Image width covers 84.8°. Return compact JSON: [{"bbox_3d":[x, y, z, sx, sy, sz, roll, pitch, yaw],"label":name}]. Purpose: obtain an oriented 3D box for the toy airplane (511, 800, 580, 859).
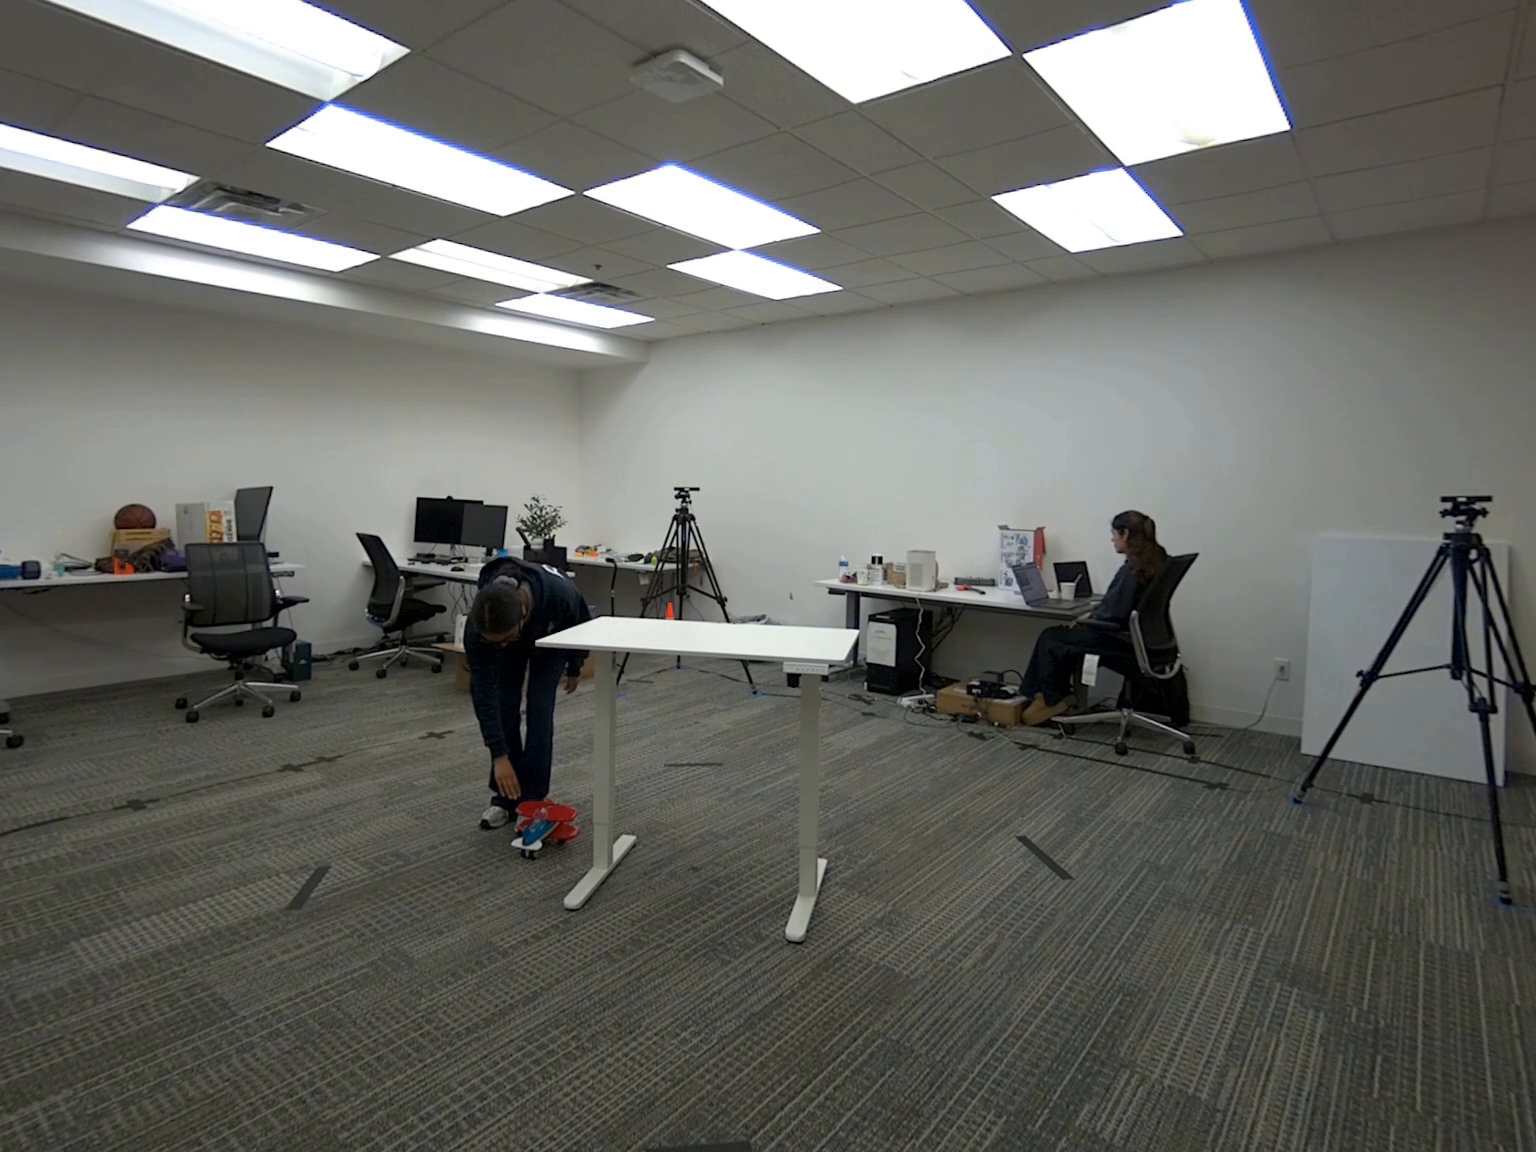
[{"bbox_3d":[-0.849,0.973,3.252,0.249,0.156,0.262,1,4,-9],"label":"toy airplane"}]
